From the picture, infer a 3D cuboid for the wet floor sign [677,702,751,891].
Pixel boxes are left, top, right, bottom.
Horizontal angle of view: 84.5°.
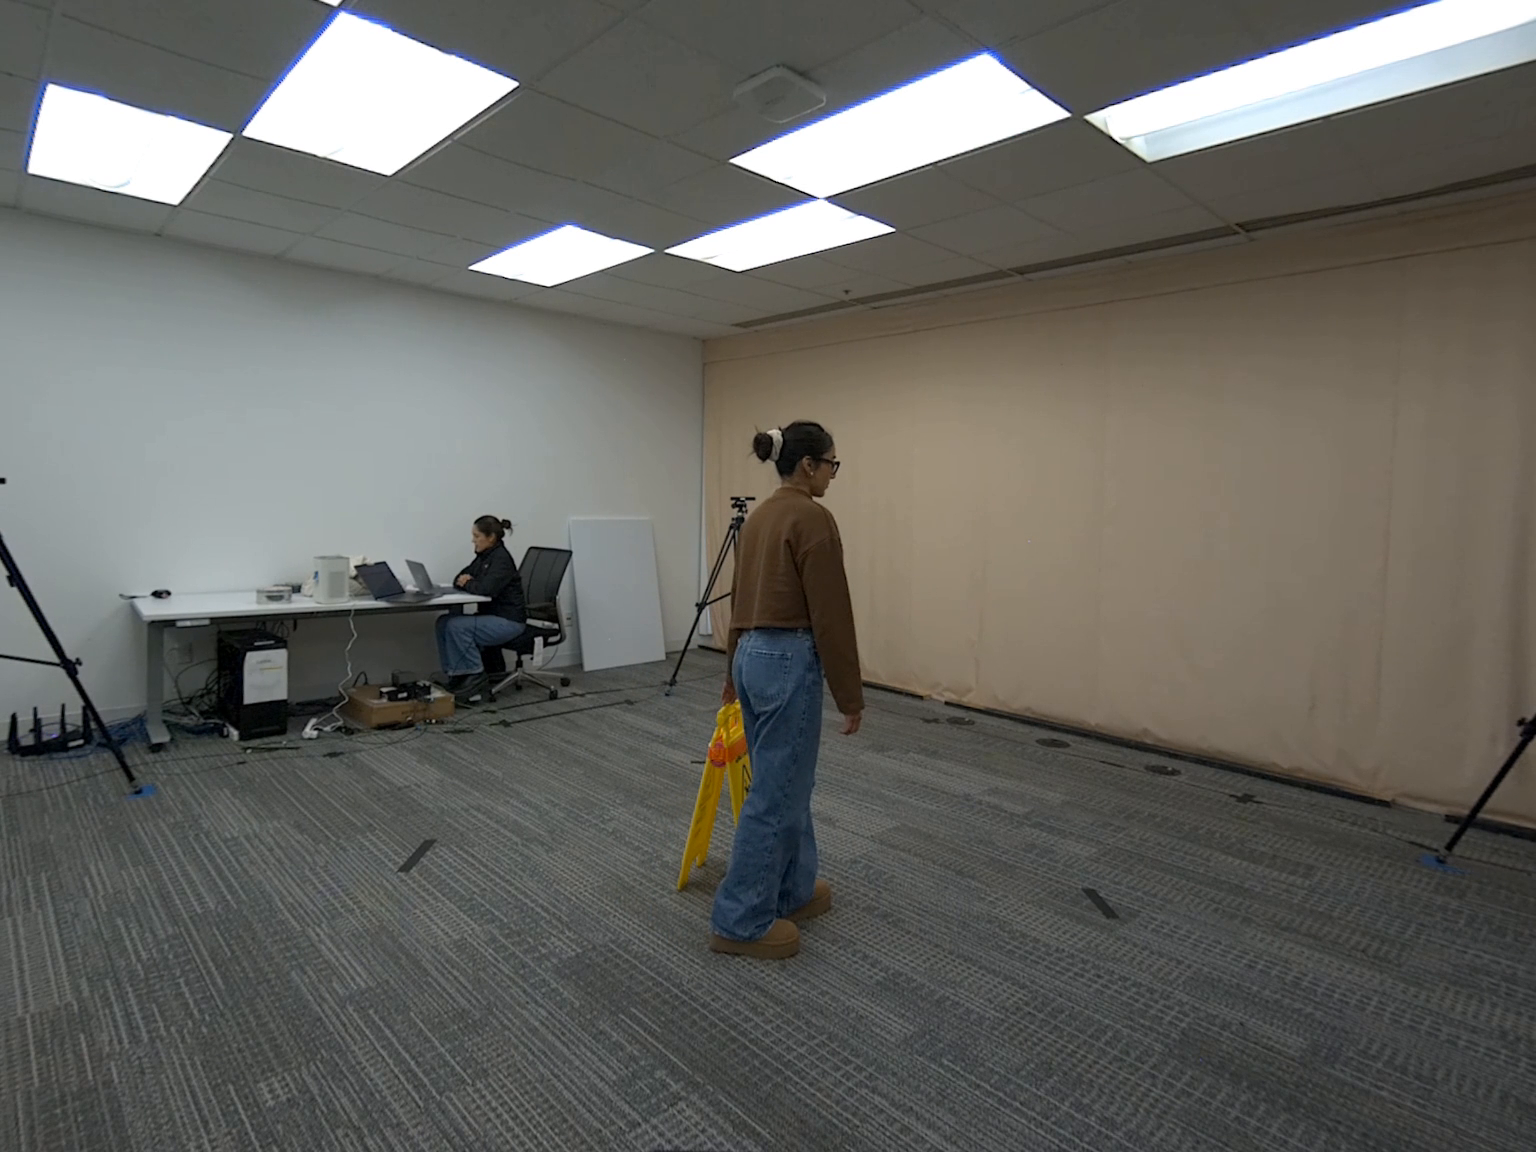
[{"bbox_3d":[-0.147,0.789,3.039,0.294,0.644,0.279,3,5,17],"label":"wet floor sign"}]
